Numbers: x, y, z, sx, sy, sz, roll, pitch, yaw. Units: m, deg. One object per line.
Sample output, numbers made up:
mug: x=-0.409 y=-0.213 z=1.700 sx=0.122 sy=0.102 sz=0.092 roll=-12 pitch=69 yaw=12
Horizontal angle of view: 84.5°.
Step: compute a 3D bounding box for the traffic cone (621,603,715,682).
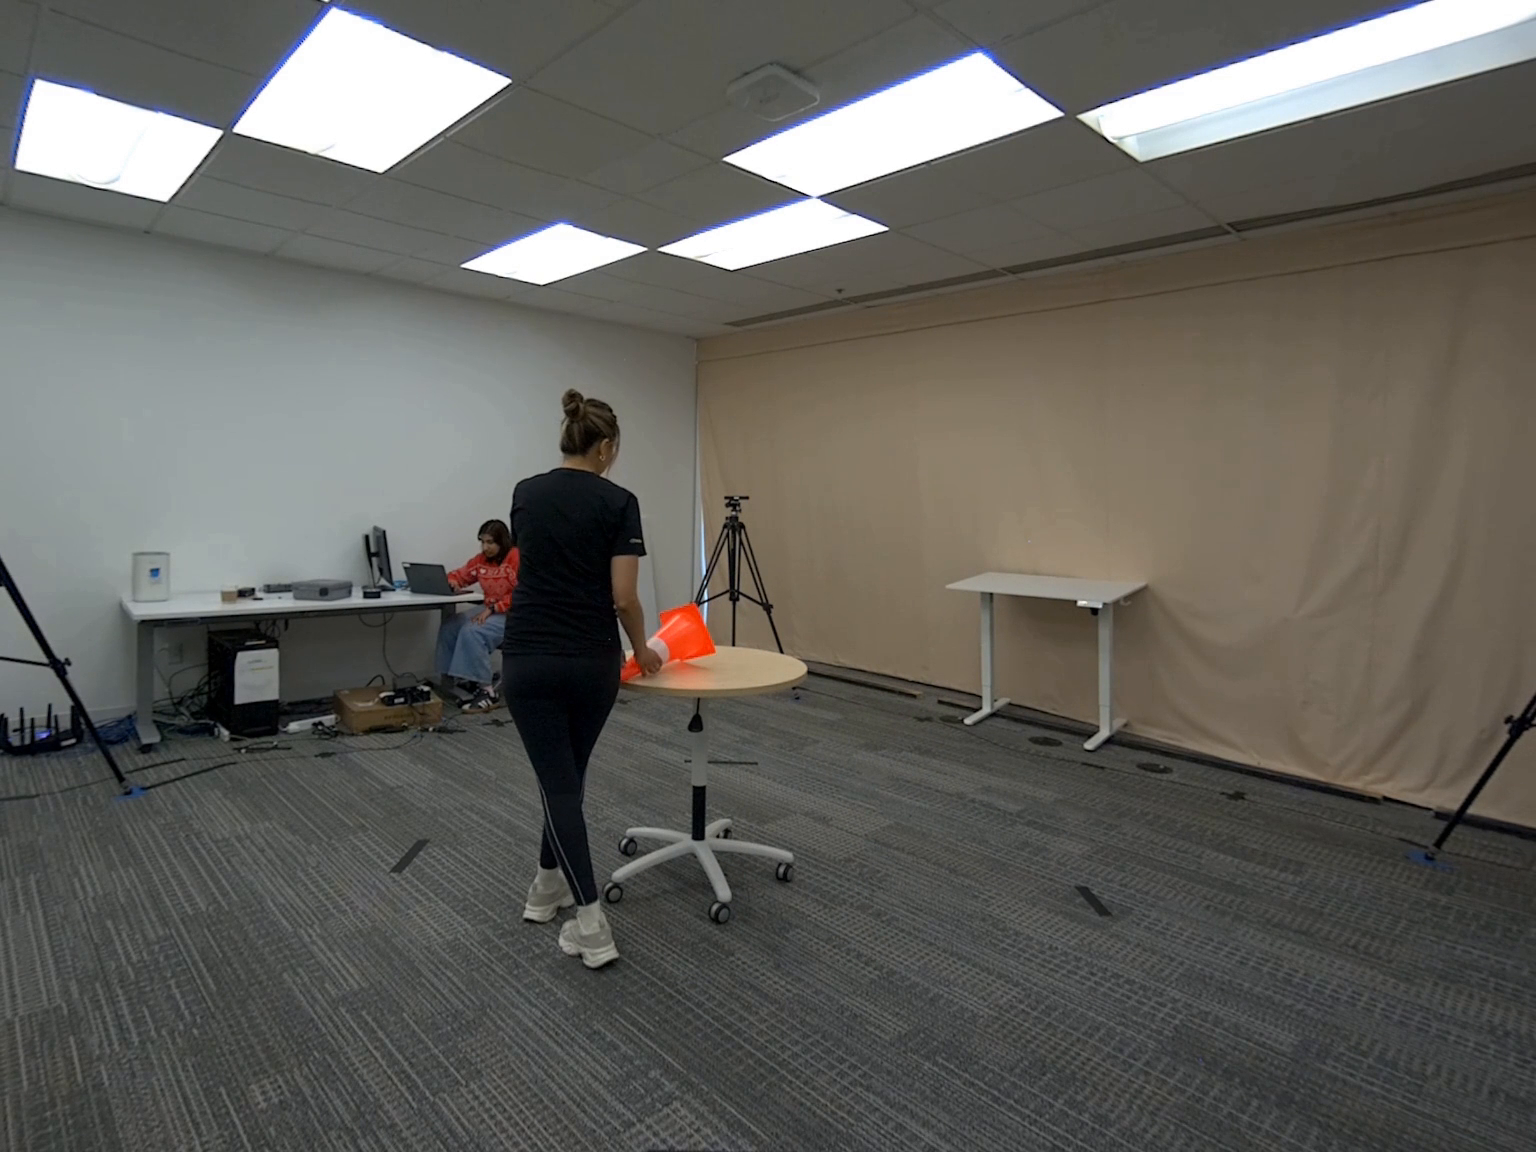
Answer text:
traffic cone: x=-0.403 y=0.279 z=2.895 sx=0.206 sy=0.204 sz=0.380 roll=-19 pitch=9 yaw=40
